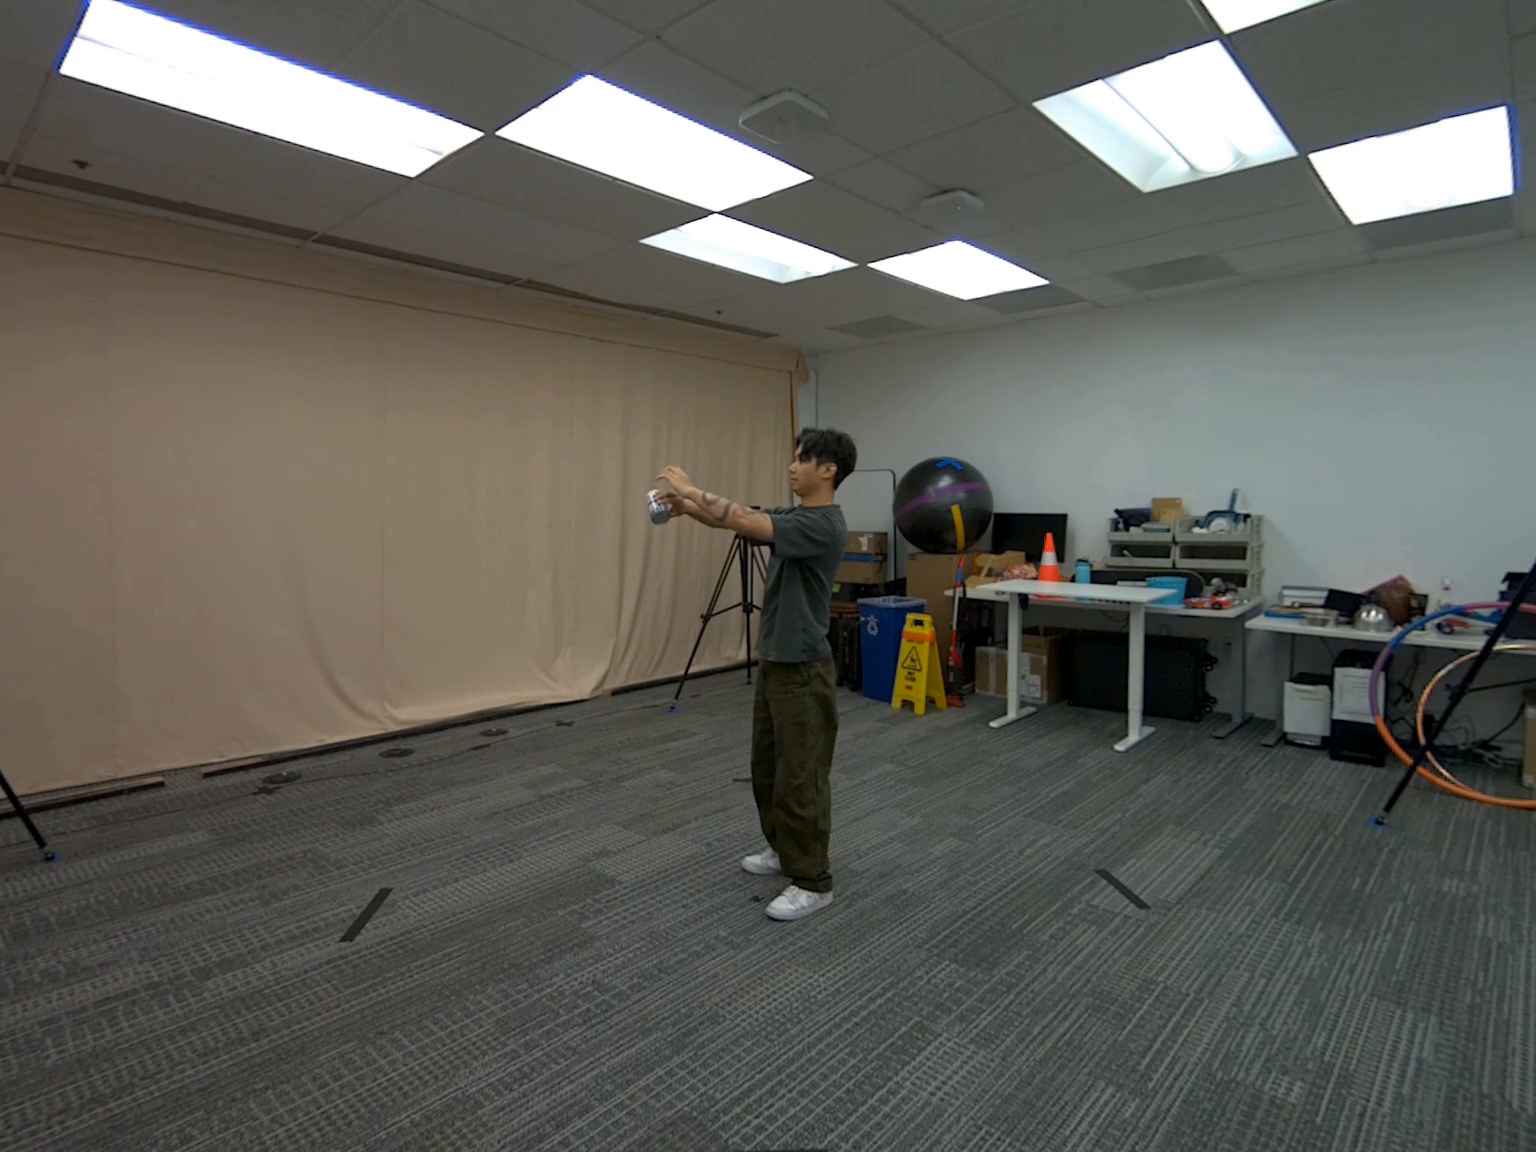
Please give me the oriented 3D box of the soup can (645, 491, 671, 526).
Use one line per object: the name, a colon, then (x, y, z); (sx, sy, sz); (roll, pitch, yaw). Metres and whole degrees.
soup can: (-0.379, -0.238, 2.915); (0.066, 0.066, 0.125); (-2, 46, -21)
